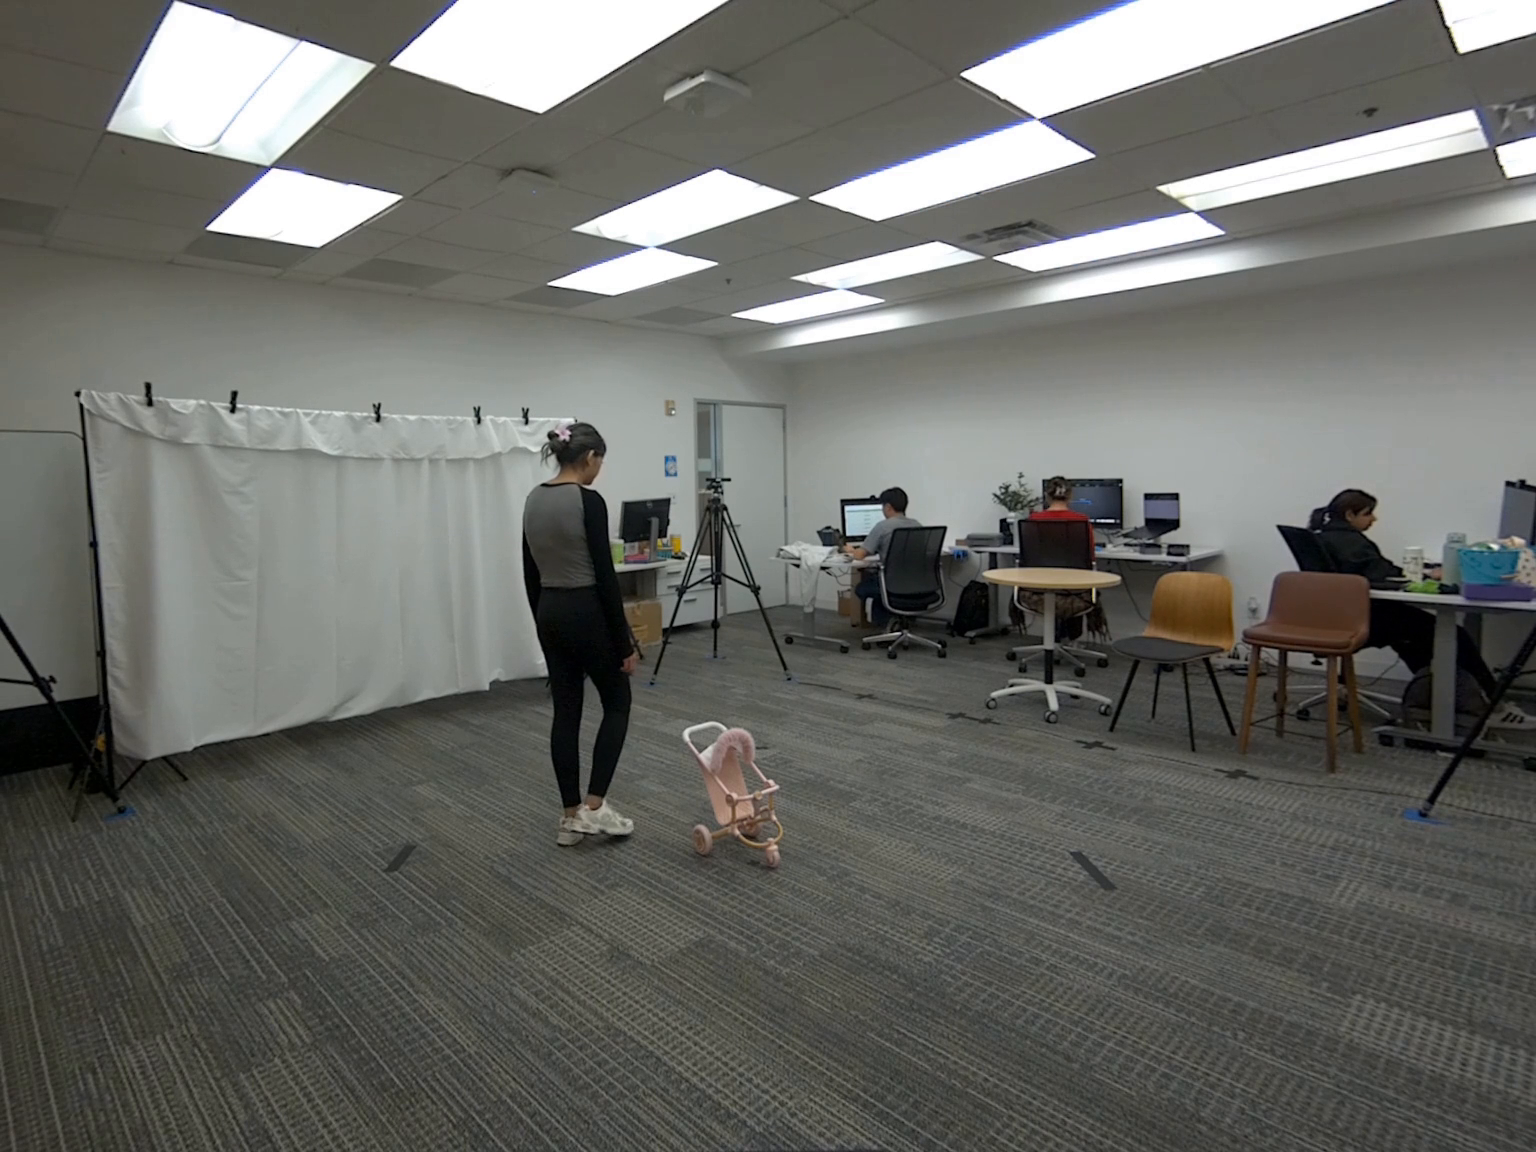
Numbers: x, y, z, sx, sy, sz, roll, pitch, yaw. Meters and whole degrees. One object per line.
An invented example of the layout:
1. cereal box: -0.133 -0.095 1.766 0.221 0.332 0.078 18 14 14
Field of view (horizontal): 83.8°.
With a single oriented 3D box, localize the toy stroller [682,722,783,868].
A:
1. toy stroller: -0.115 0.808 3.200 0.274 0.540 0.347 -4 -11 -37
